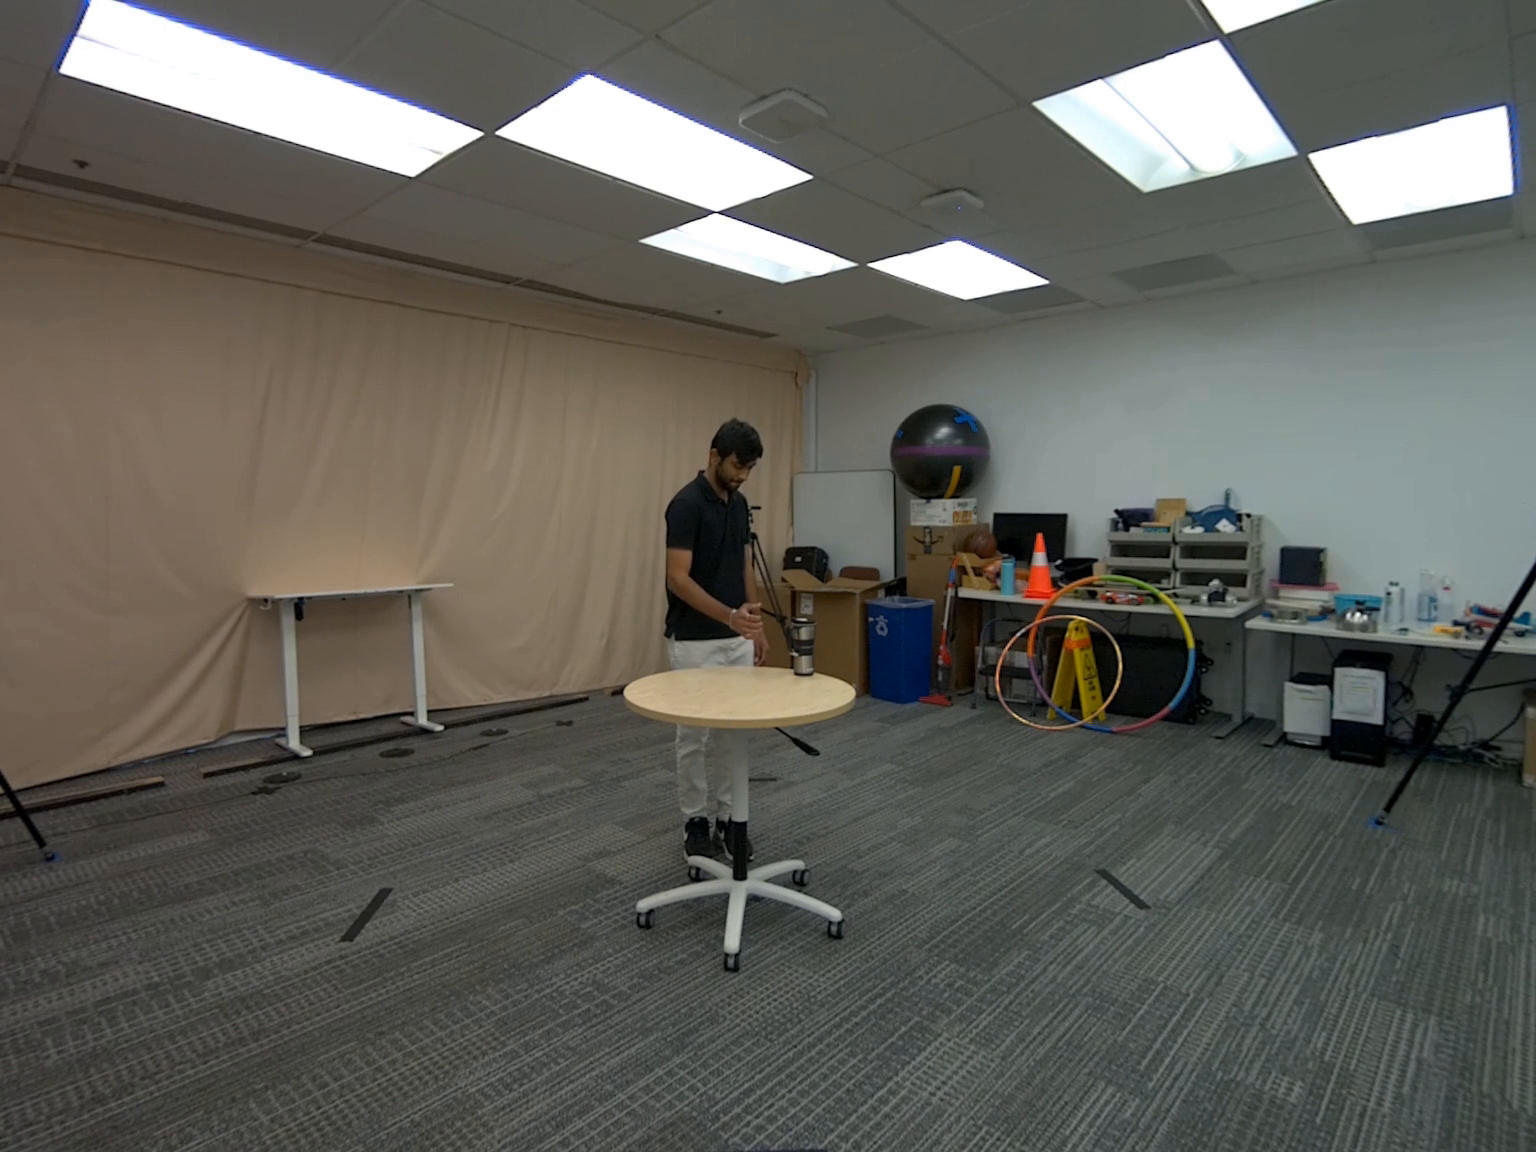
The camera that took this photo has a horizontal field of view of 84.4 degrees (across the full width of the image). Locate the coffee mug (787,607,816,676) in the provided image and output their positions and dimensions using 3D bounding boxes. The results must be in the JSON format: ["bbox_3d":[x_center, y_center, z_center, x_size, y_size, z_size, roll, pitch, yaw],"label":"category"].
[{"bbox_3d":[0.114,0.256,3.029,0.125,0.202,0.086,4,8,23],"label":"coffee mug"}]
